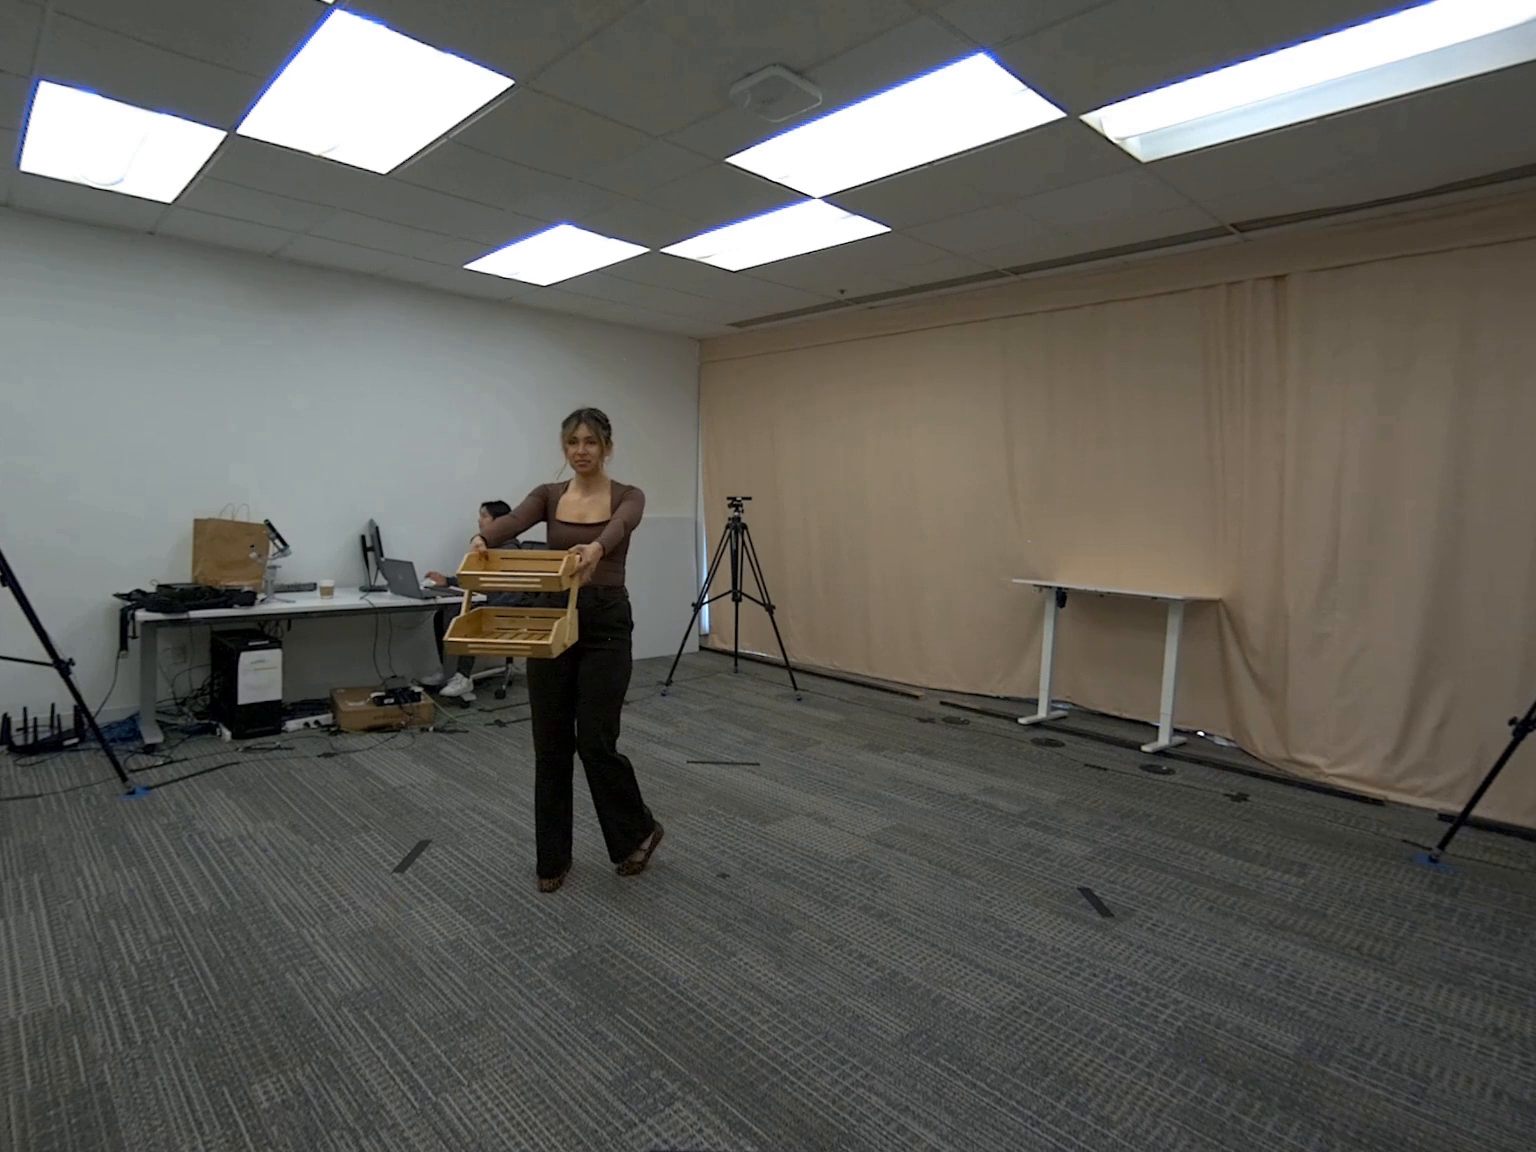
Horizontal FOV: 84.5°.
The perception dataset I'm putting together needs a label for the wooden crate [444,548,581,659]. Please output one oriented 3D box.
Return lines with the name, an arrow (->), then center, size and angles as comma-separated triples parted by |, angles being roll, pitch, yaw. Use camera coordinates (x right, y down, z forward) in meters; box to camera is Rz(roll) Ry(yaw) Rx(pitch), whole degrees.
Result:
wooden crate -> -0.735, 0.077, 2.389 | 0.326, 0.272, 0.302 | 1, 7, 5
